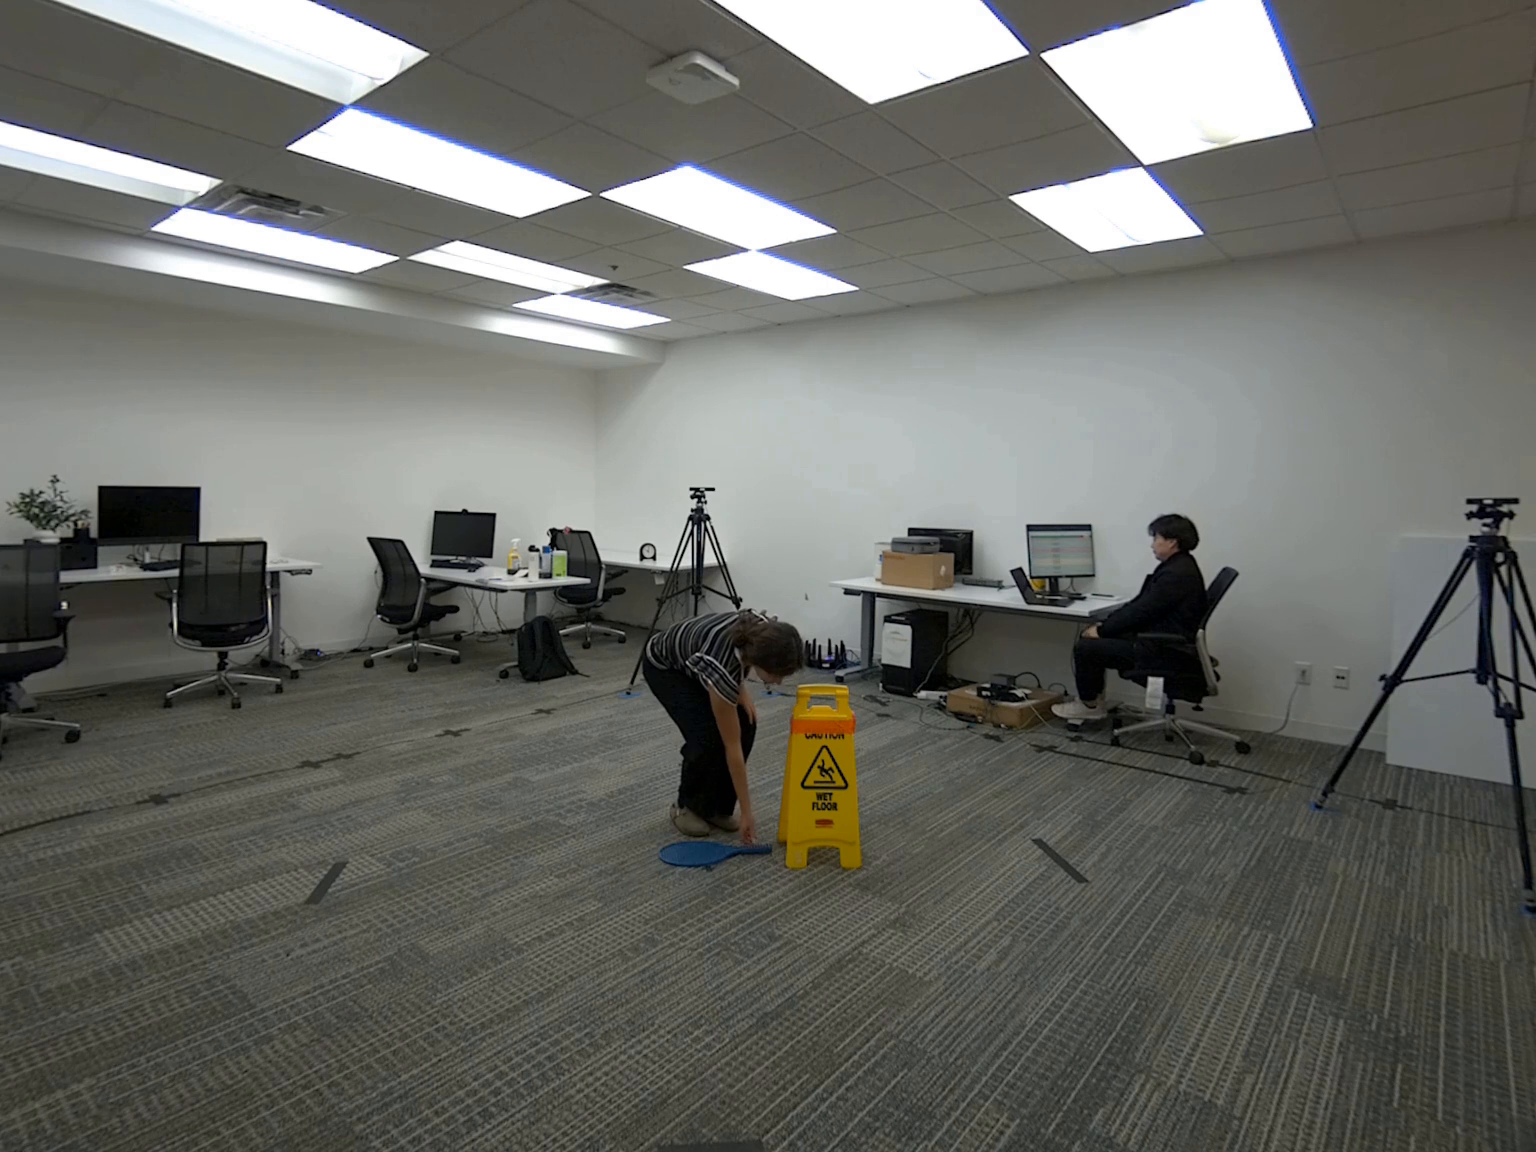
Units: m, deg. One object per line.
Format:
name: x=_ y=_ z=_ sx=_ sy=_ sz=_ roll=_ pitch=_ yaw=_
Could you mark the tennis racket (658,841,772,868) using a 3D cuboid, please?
tennis racket: x=-0.219 y=1.040 z=3.228 sx=0.430 sy=0.031 sz=0.216 roll=-1 pitch=7 yaw=-6
